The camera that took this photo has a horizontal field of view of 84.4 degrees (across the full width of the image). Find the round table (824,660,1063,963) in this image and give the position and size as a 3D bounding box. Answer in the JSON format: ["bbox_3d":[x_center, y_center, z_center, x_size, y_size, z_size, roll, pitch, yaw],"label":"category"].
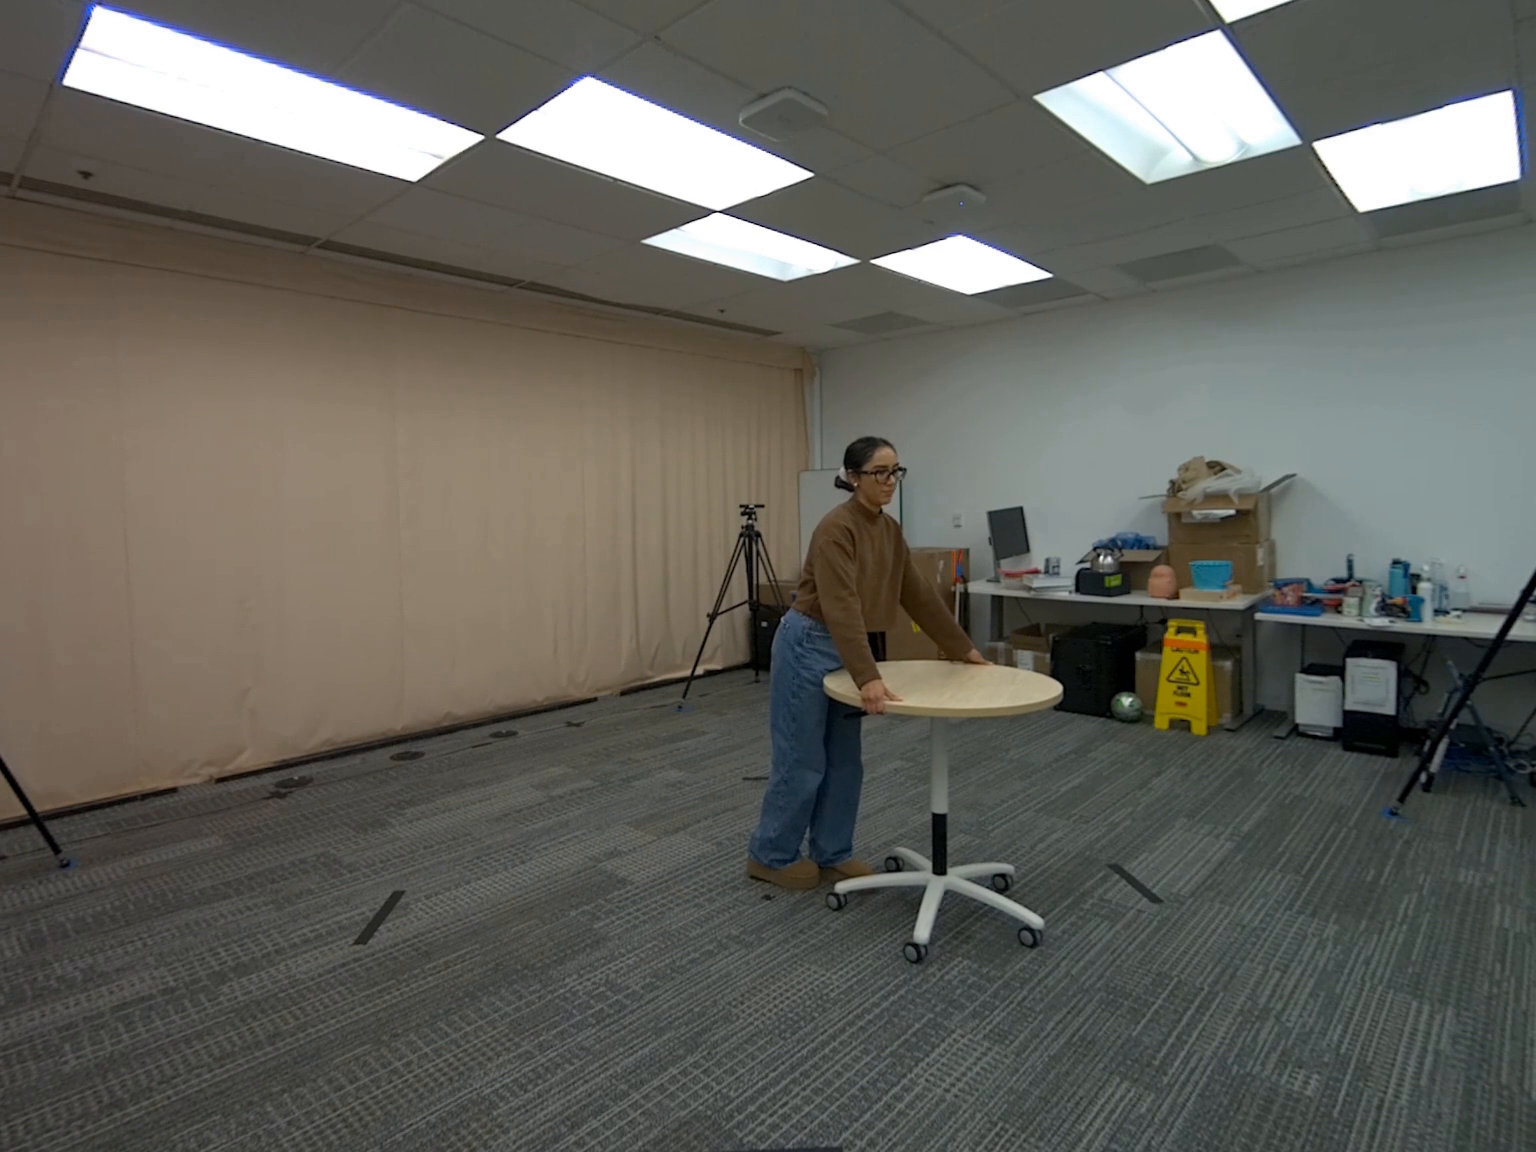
[{"bbox_3d":[0.593,0.746,2.824,0.784,0.784,0.788,-1,4,-2],"label":"round table"}]
